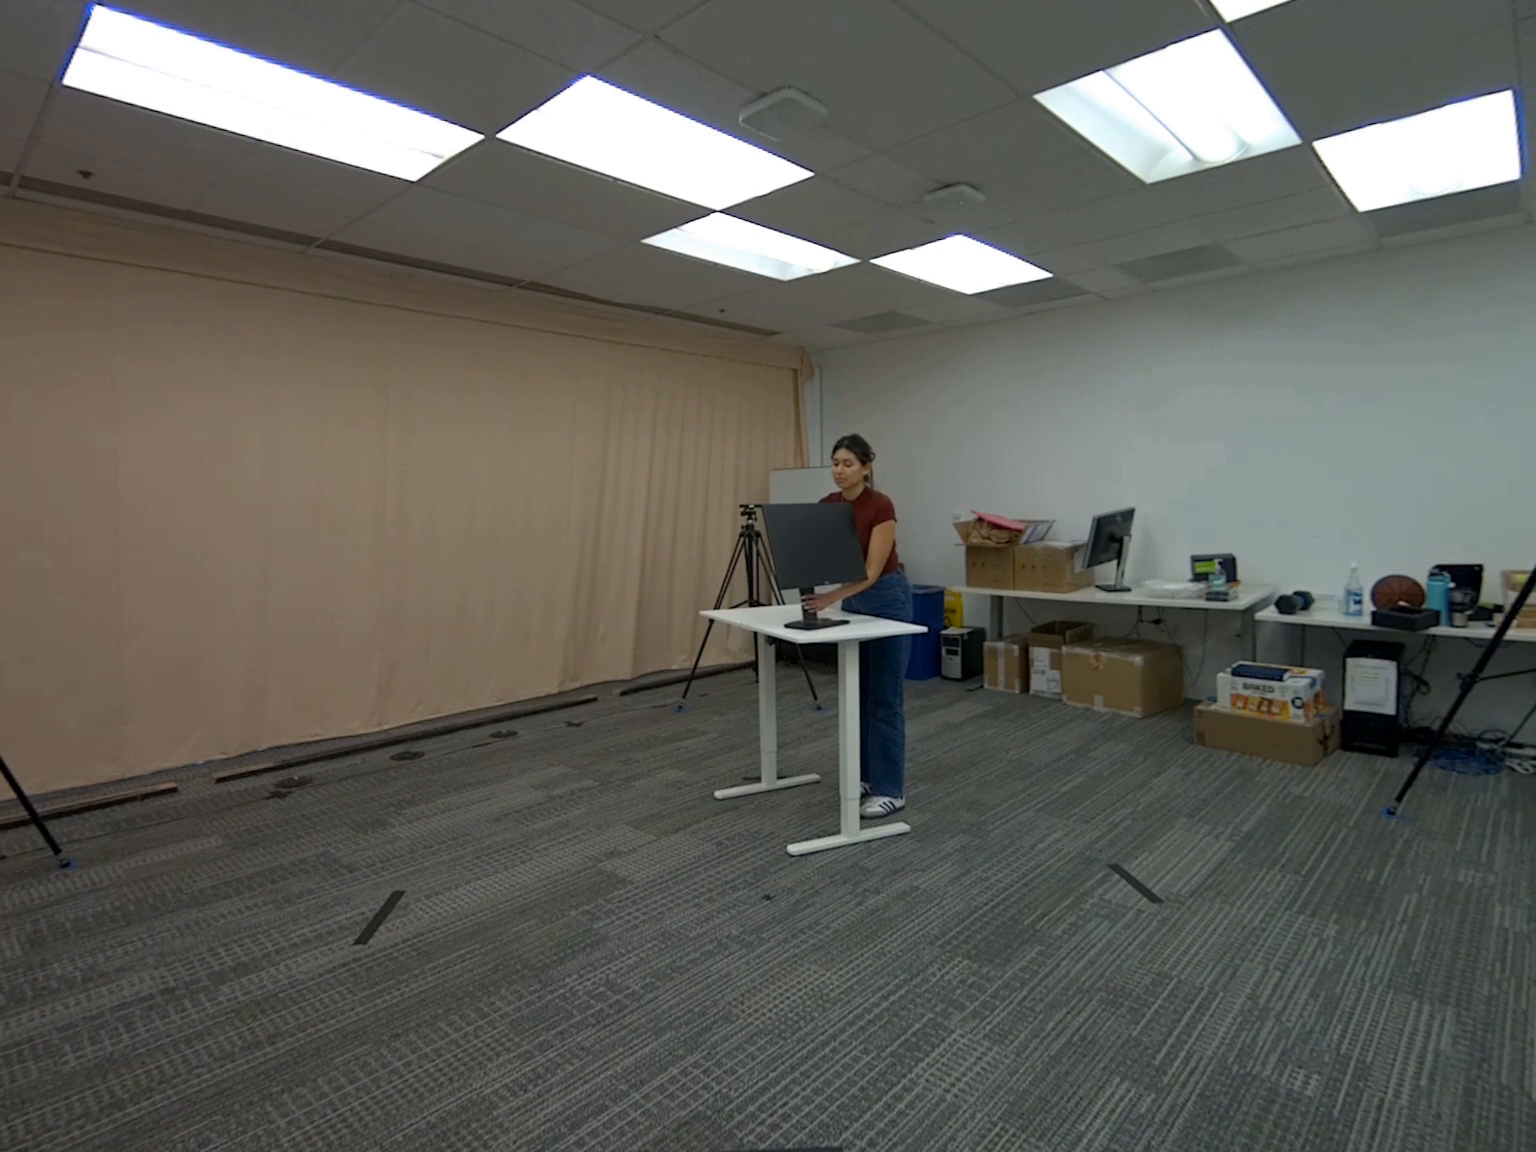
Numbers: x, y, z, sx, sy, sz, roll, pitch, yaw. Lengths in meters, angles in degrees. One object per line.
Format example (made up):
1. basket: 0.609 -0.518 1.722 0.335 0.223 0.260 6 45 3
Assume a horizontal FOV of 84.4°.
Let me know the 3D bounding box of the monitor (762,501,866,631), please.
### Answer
1. monitor: 0.191 -0.043 3.535 0.523 0.522 0.193 -4 1 -43
